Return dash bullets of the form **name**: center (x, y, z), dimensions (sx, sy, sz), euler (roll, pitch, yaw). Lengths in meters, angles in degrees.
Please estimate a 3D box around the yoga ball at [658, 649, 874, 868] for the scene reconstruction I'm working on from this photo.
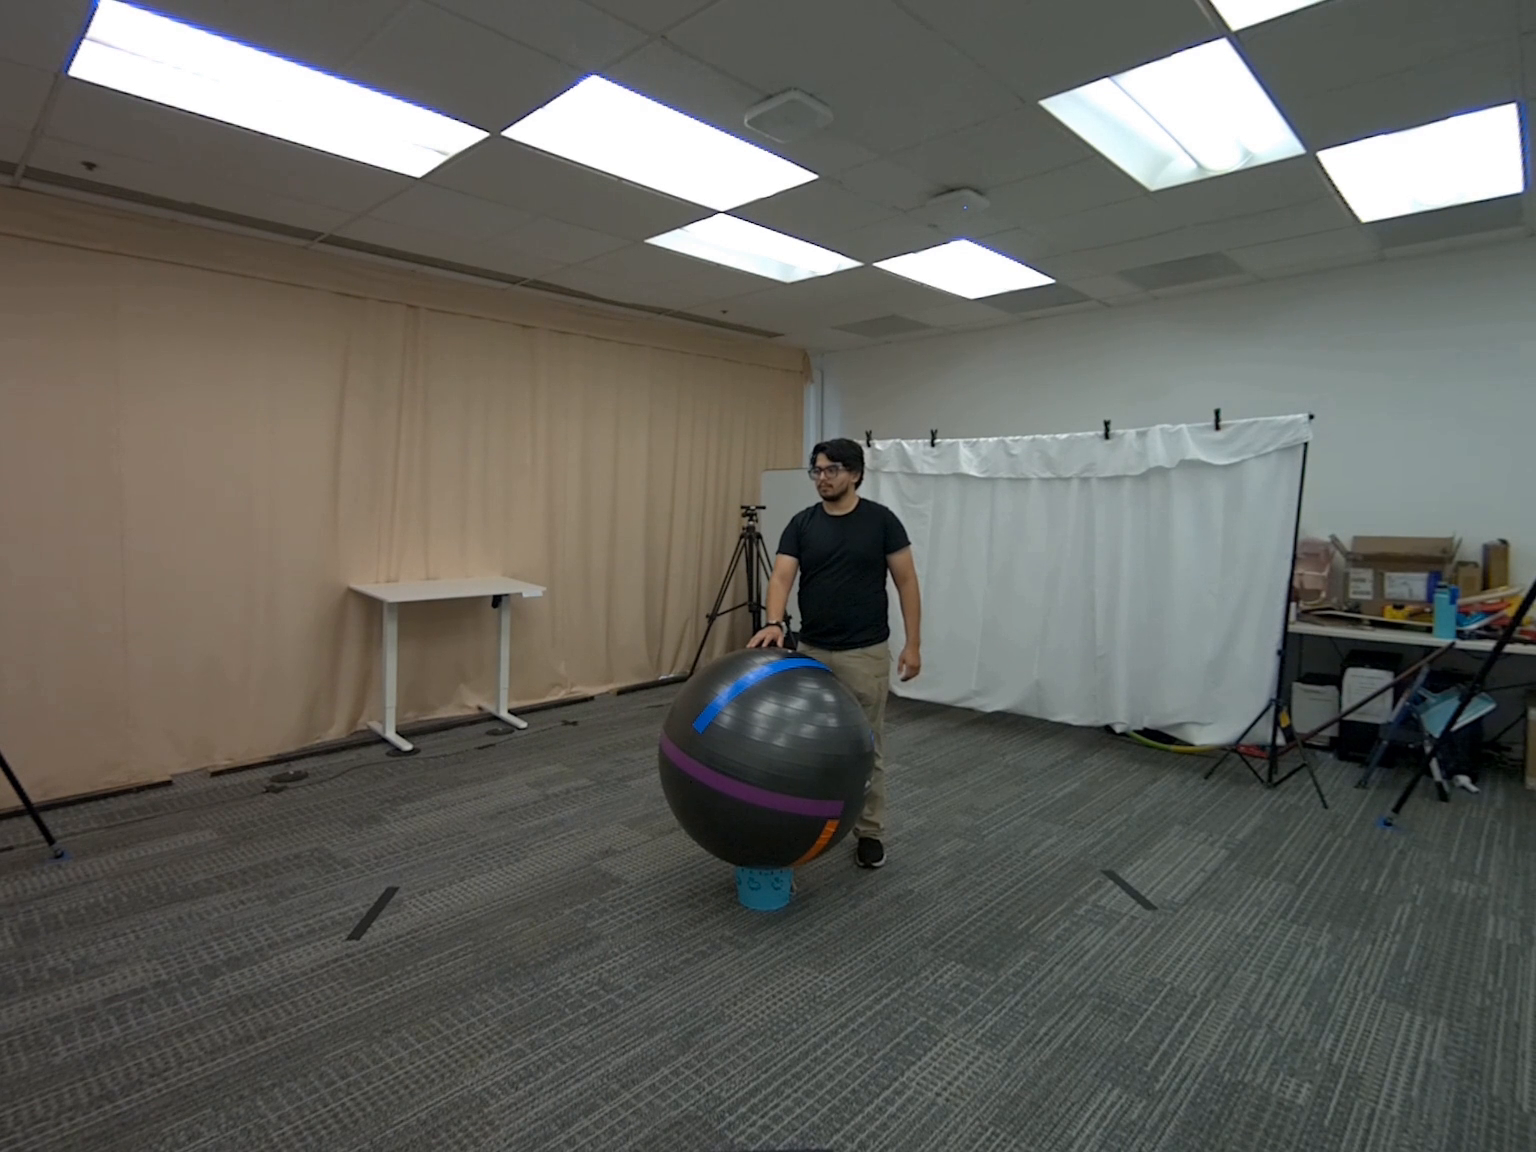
- **yoga ball**: center (0.004, 0.637, 2.964), dimensions (0.757, 0.756, 0.760), euler (0, 4, -2)
